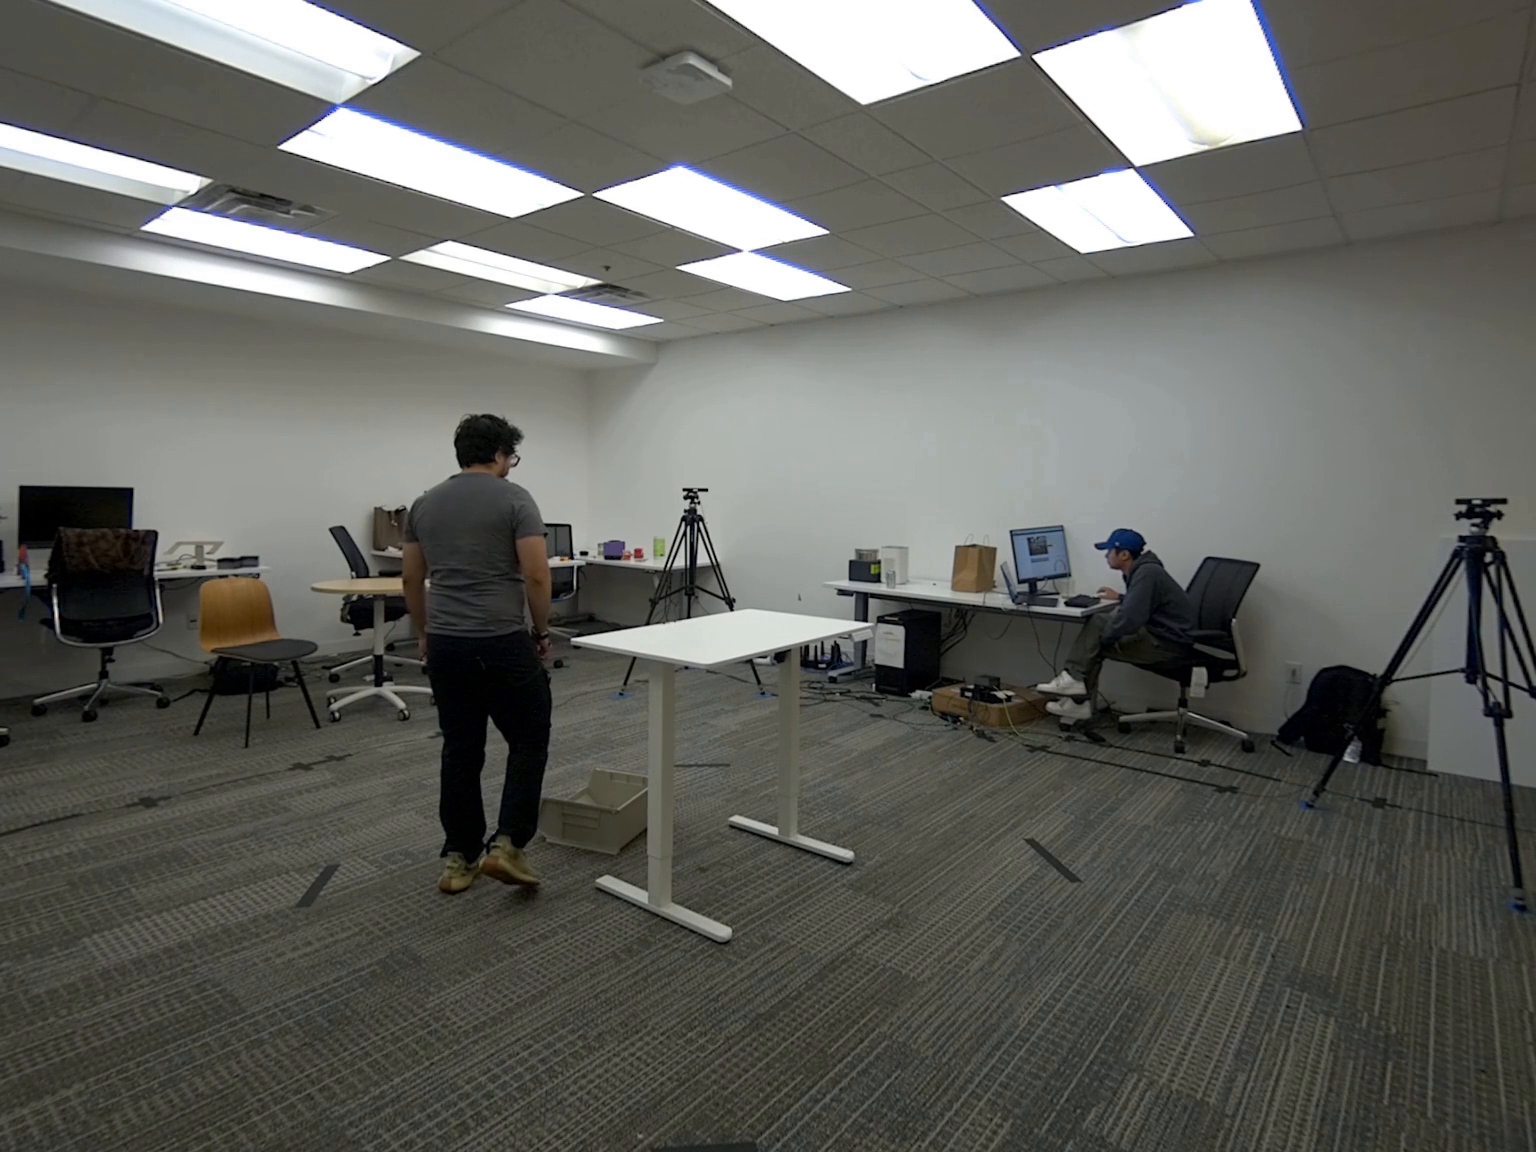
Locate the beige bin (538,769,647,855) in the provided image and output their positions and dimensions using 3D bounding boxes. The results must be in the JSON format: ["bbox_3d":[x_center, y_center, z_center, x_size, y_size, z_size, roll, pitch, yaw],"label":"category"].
[{"bbox_3d":[-0.688,0.941,3.460,0.385,0.188,0.415,3,5,19],"label":"beige bin"}]
